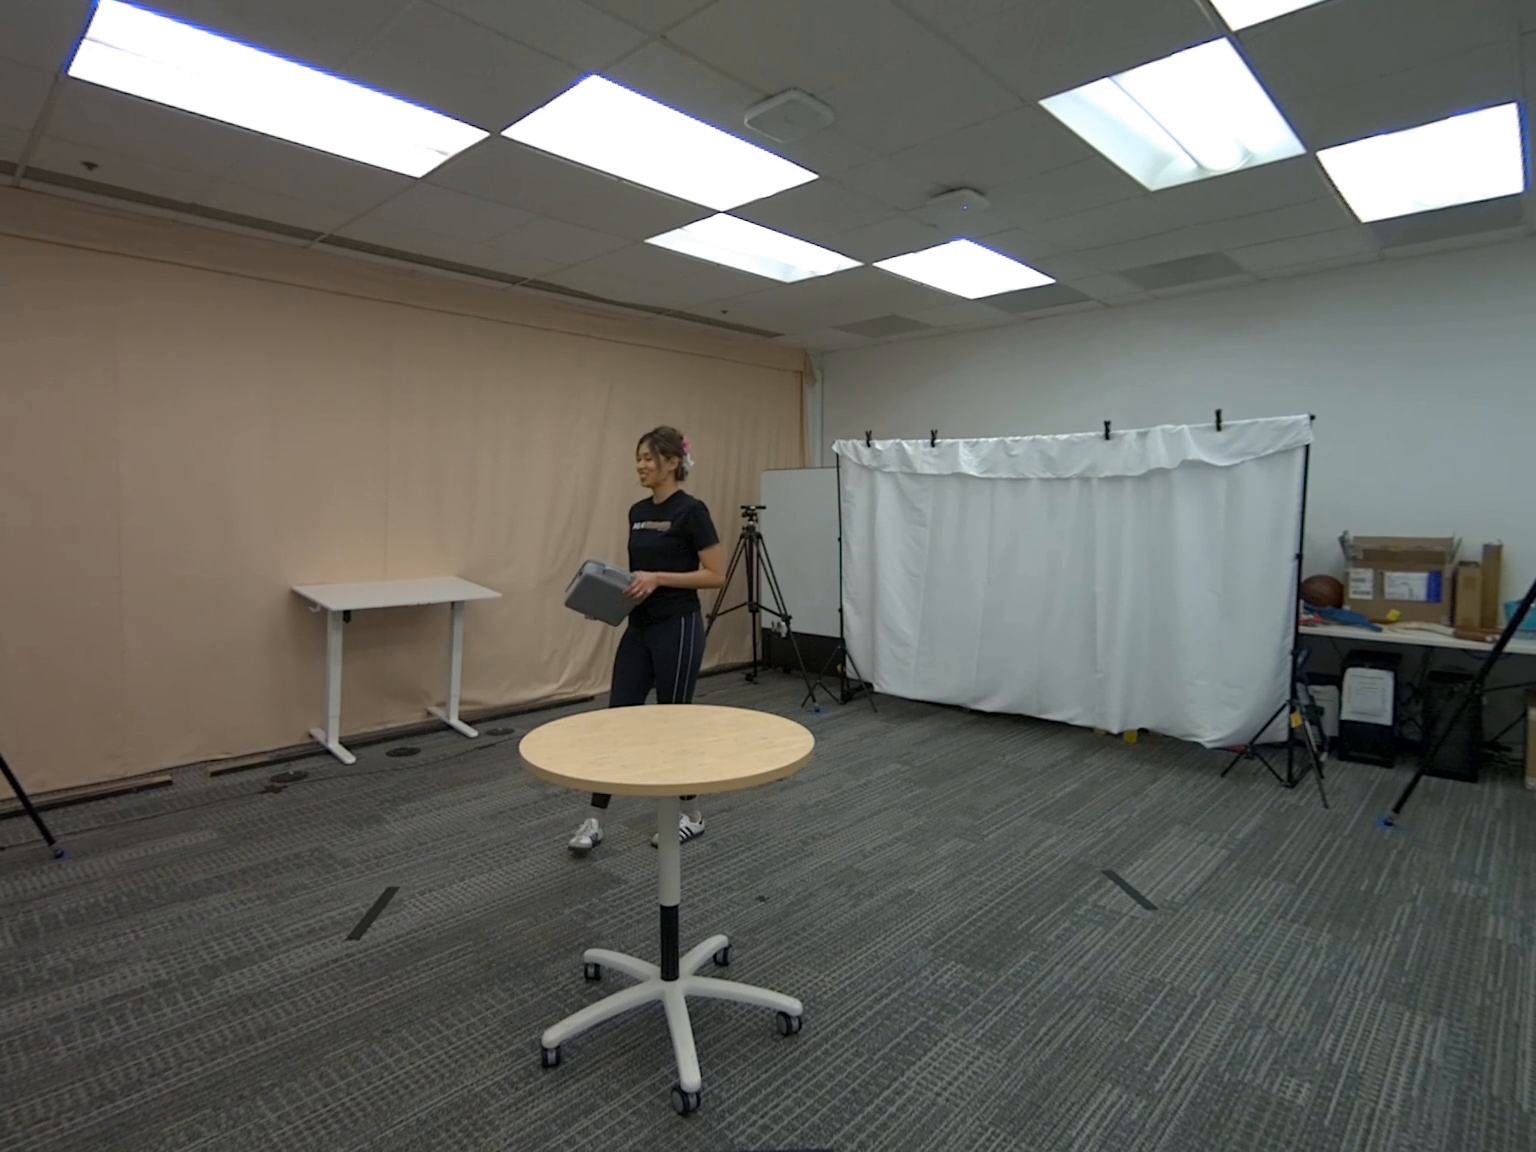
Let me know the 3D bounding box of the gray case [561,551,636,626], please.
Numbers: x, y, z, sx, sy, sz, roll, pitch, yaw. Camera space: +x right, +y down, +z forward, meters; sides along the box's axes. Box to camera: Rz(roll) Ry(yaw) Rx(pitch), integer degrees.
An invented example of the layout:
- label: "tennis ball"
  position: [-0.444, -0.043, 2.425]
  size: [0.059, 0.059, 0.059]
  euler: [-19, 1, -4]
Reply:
- label: "gray case"
  position: [-0.646, 0.051, 3.327]
  size: [0.251, 0.106, 0.262]
  euler: [17, -41, -21]
